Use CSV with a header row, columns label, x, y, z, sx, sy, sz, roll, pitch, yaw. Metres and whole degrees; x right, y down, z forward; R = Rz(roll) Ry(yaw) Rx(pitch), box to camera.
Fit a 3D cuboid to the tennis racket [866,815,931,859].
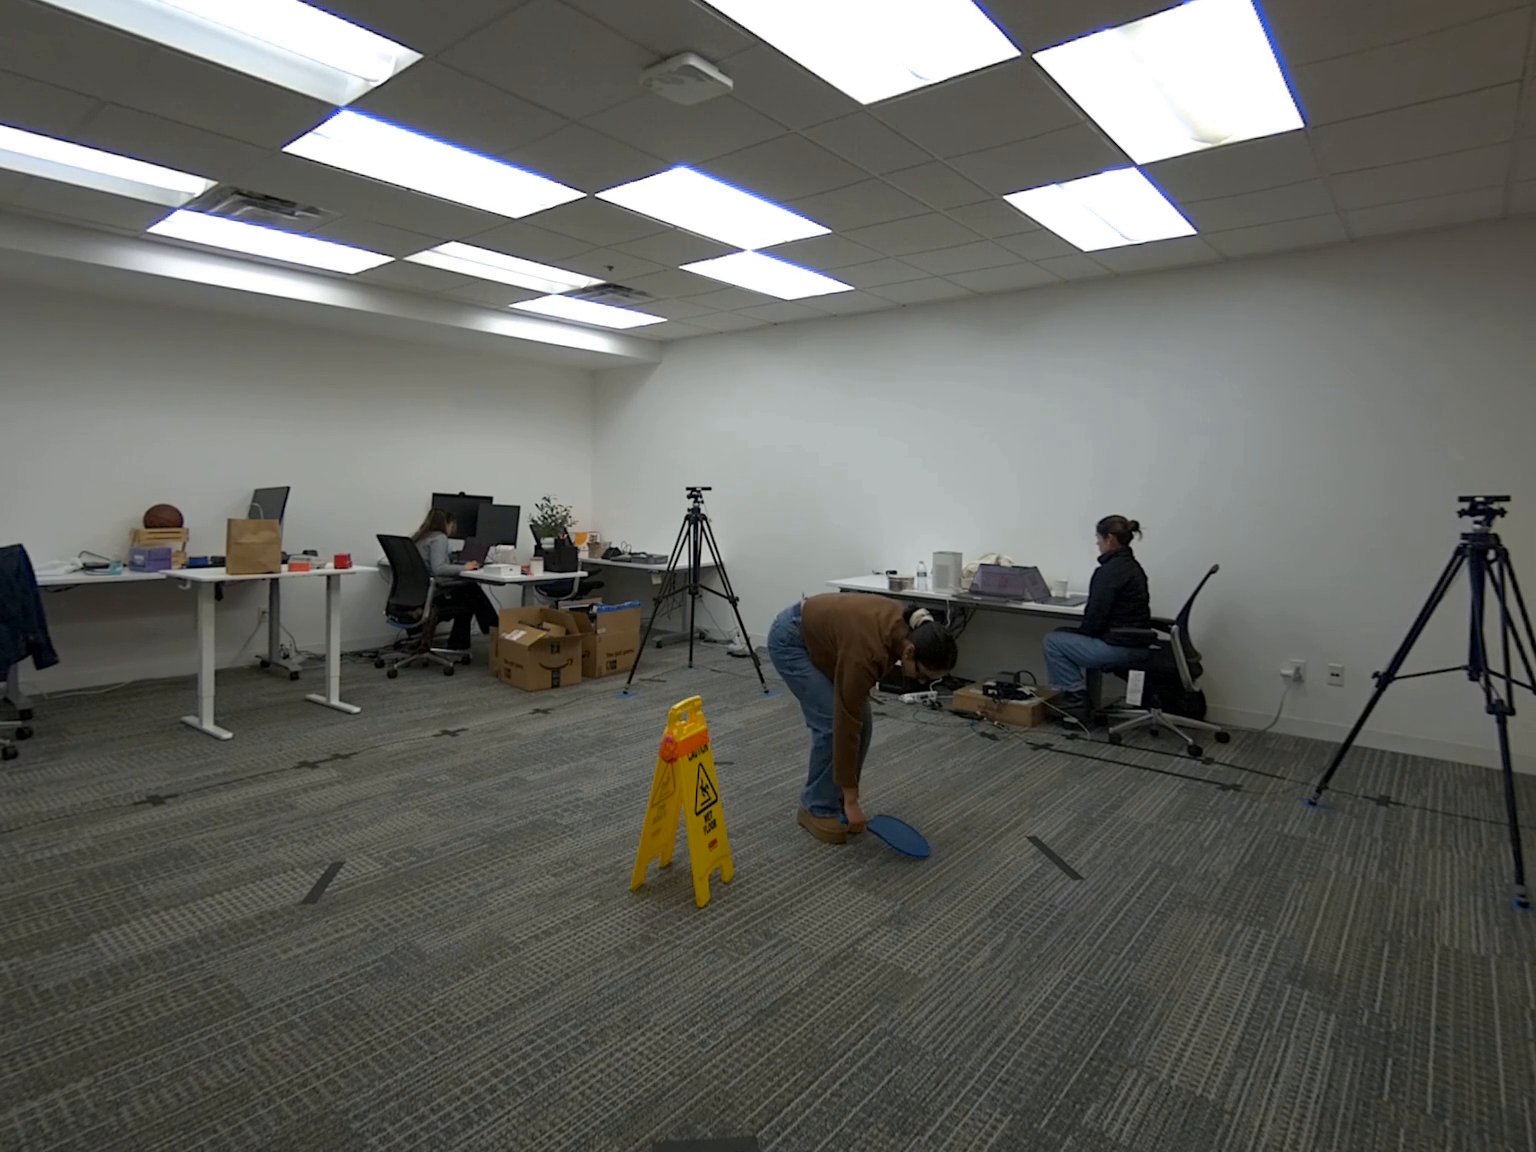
label,x,y,z,sx,sy,sz,roll,pitch,yaw
tennis racket,0.434,0.976,3.238,0.418,0.031,0.222,15,16,-32
